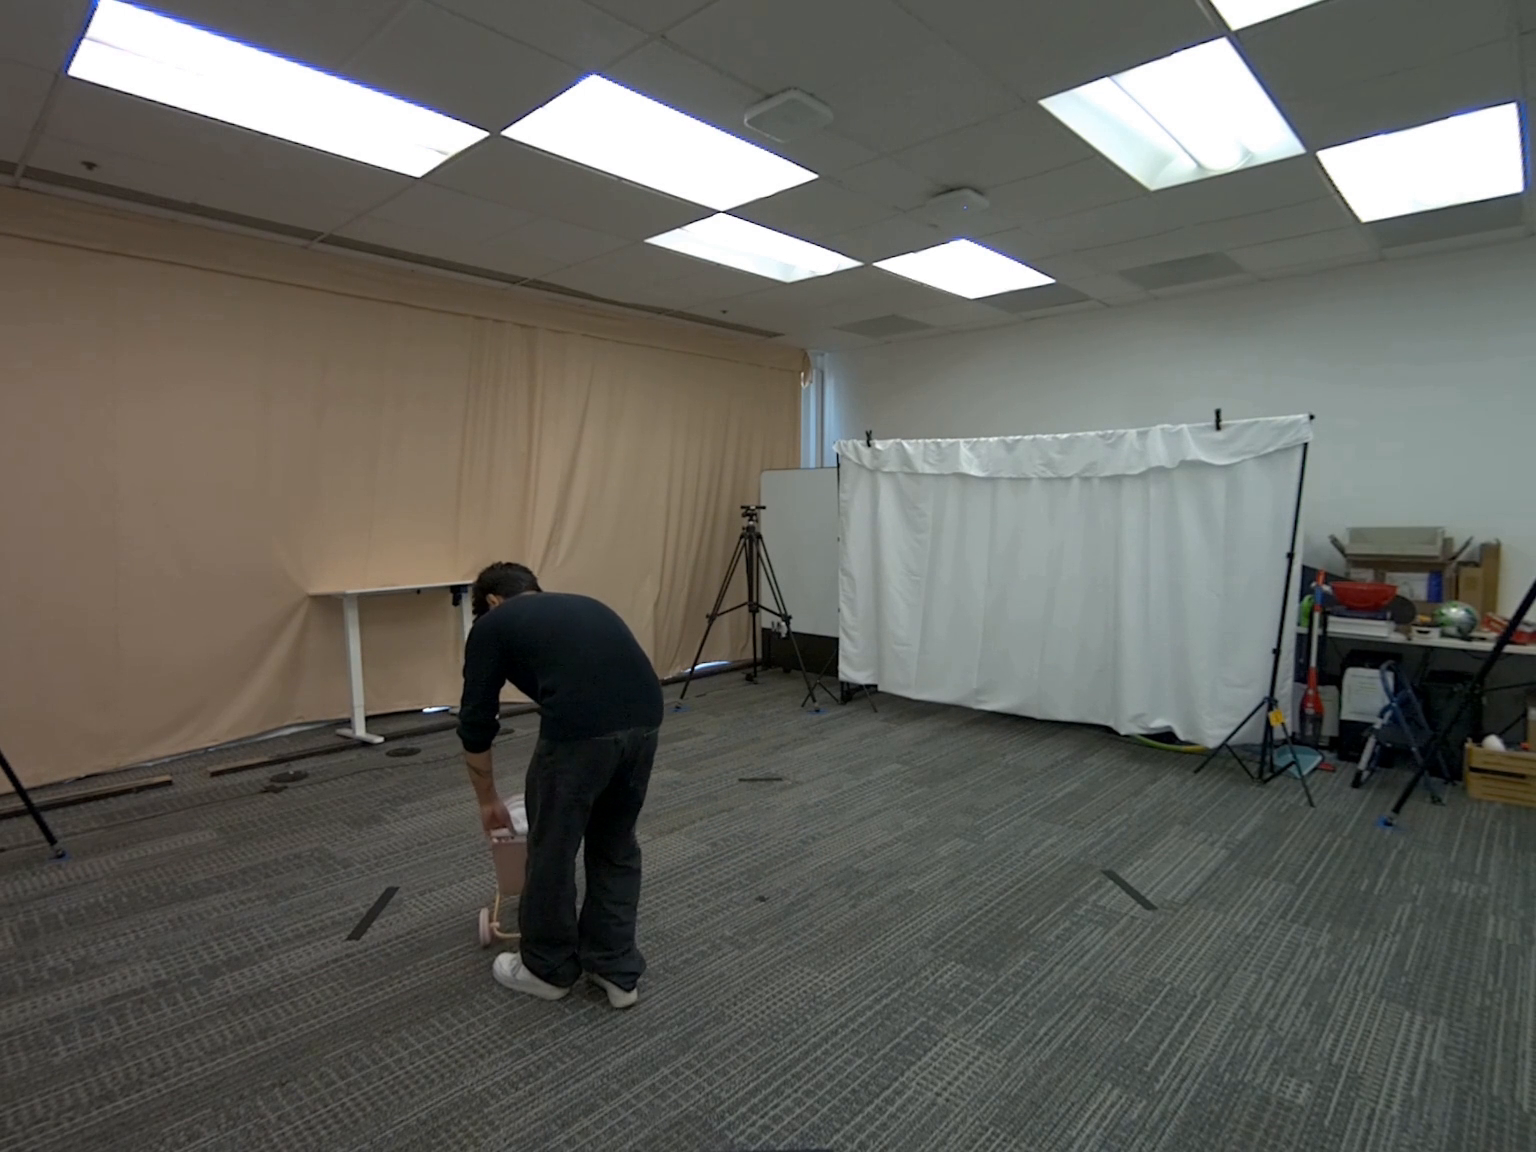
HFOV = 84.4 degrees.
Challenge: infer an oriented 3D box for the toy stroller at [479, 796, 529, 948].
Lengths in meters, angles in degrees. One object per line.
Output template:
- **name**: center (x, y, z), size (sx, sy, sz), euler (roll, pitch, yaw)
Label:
- **toy stroller**: center (-0.794, 0.945, 2.756), size (0.280, 0.529, 0.347), euler (0, 20, -6)
